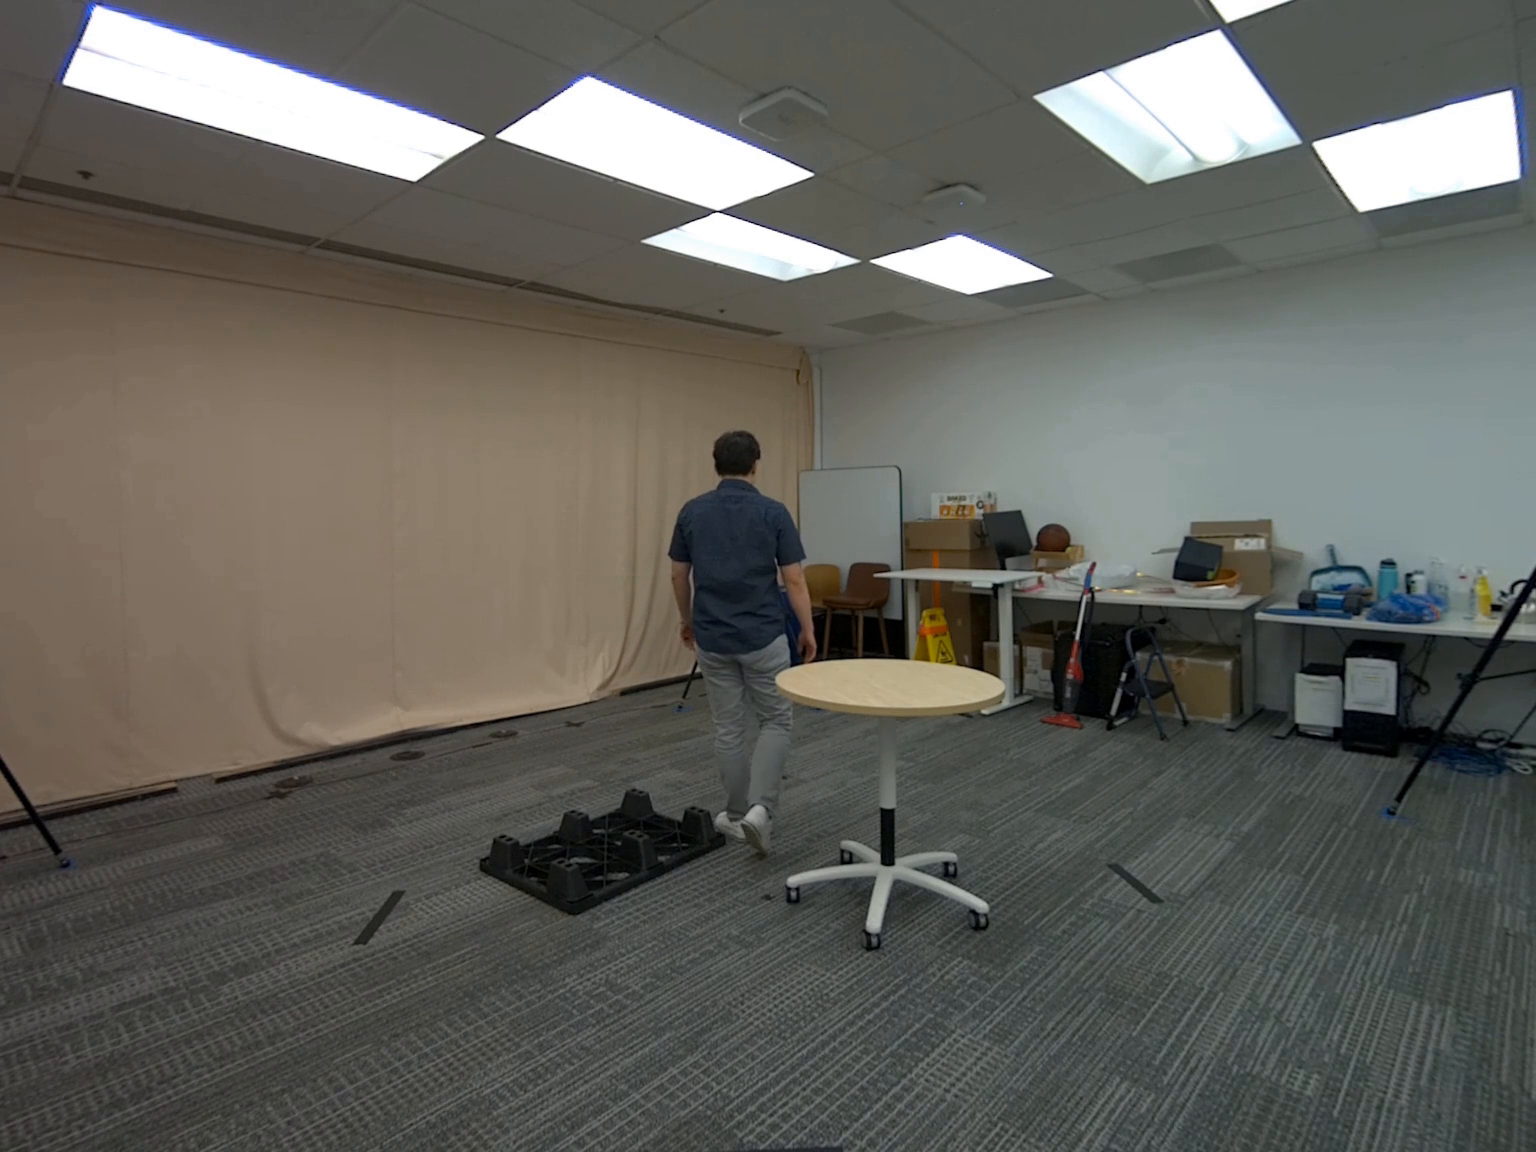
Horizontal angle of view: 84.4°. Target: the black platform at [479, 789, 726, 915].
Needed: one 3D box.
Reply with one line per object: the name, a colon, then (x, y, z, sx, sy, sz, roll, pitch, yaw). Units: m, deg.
black platform: (-0.648, 1.056, 3.365, 0.625, 0.143, 0.781, 3, 6, 40)
